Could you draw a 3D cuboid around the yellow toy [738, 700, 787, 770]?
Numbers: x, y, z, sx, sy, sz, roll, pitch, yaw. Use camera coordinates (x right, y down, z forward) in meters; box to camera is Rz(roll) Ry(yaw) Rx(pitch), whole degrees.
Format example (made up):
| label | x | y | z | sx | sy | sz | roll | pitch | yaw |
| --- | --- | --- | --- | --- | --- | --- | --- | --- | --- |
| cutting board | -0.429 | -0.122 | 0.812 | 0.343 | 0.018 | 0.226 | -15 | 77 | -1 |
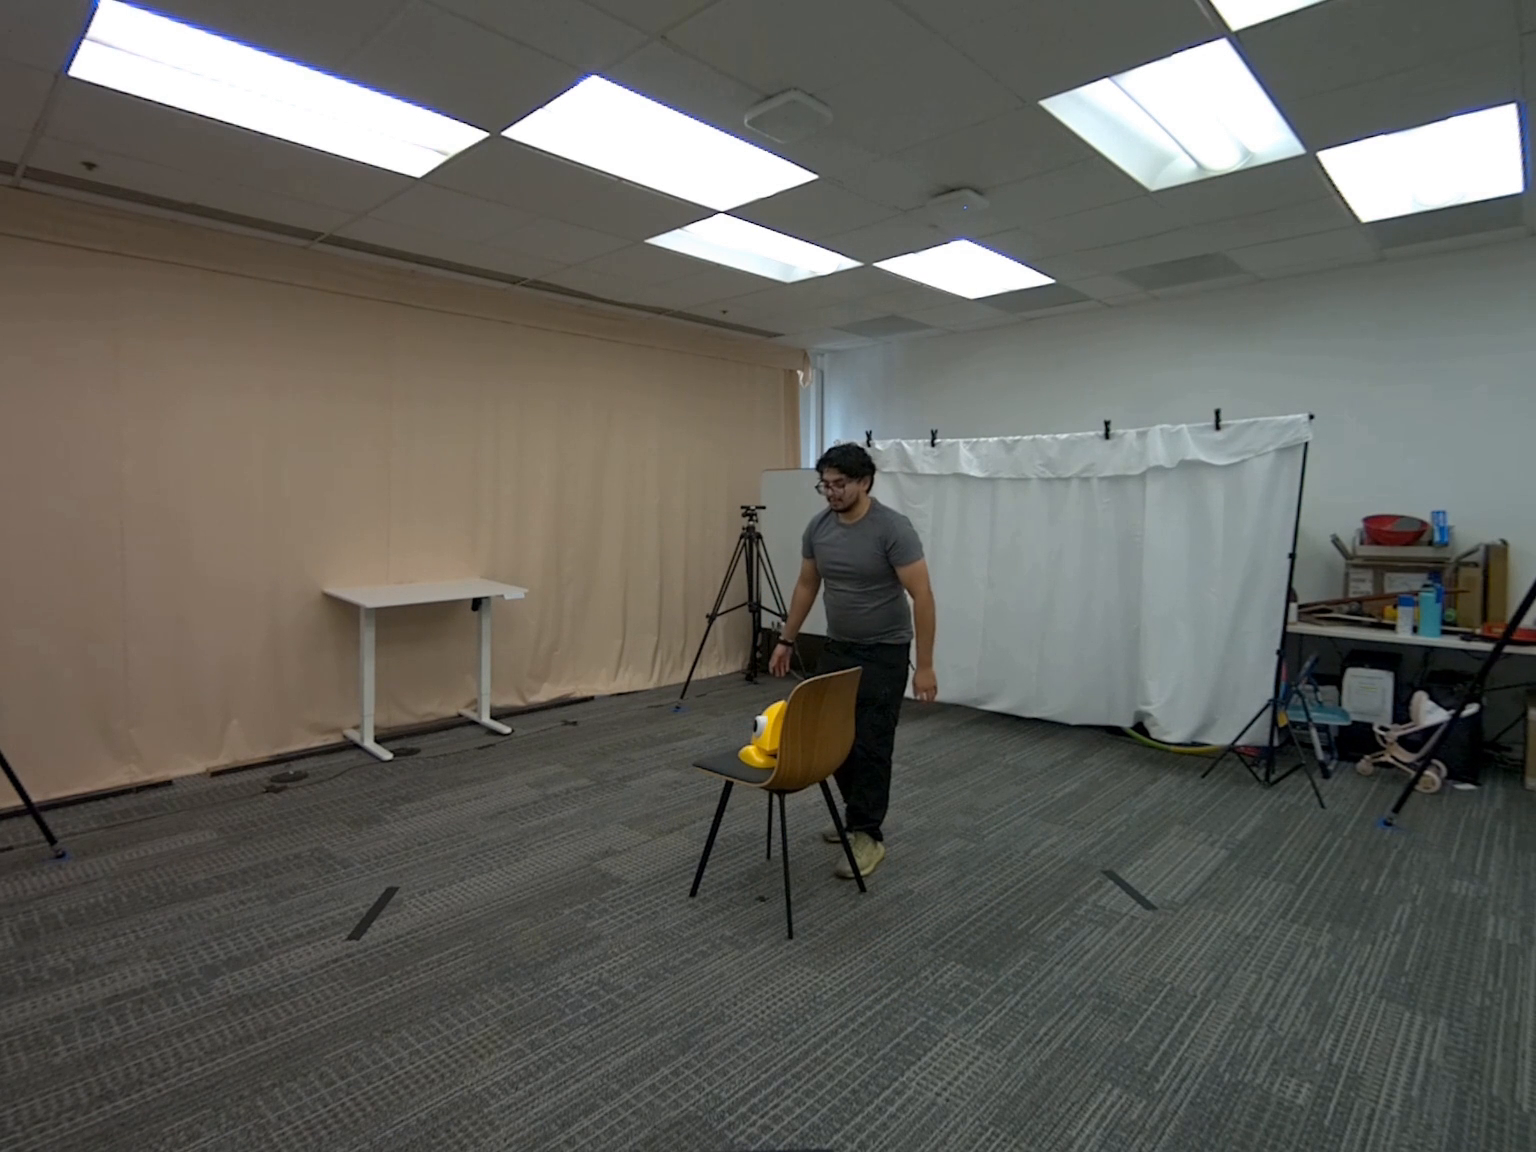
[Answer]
| label | x | y | z | sx | sy | sz | roll | pitch | yaw |
| --- | --- | --- | --- | --- | --- | --- | --- | --- | --- |
| yellow toy | 0.015 | 0.548 | 3.029 | 0.198 | 0.229 | 0.200 | -6 | 11 | -44 |
